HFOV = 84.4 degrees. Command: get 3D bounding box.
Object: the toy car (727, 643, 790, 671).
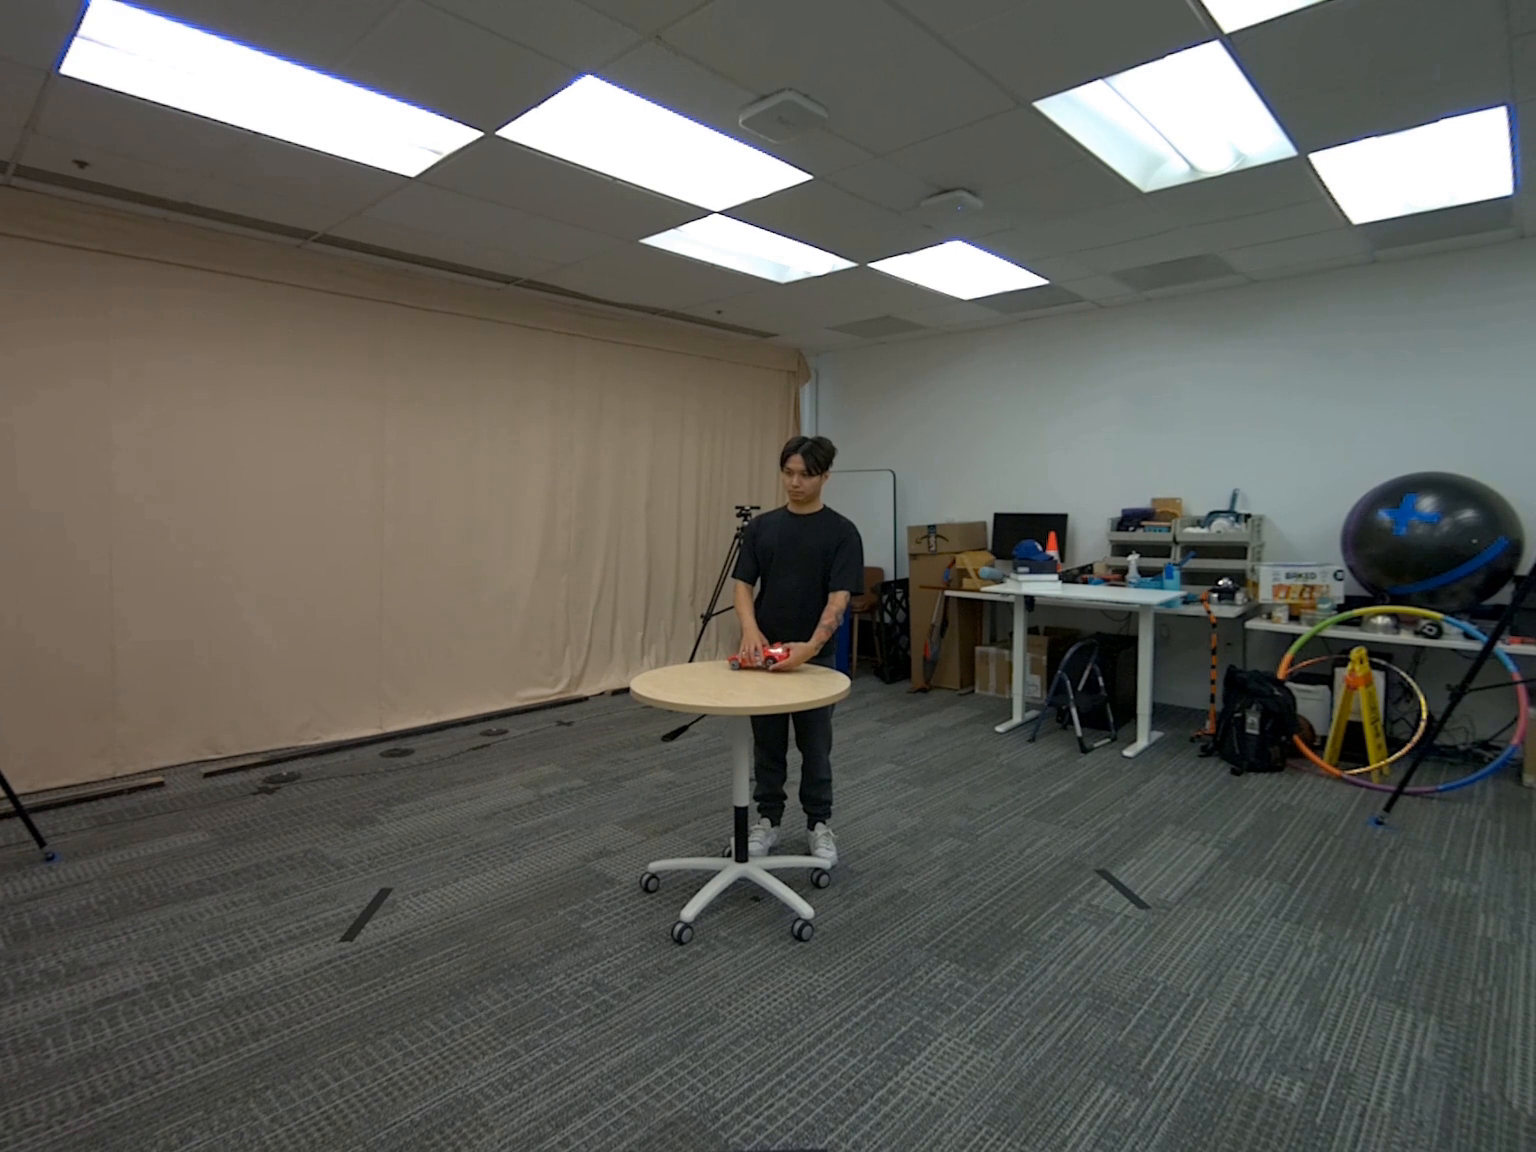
[{"bbox_3d":[-0.020,0.307,3.117,0.259,0.083,0.127,-16,-5,25],"label":"toy car"}]
